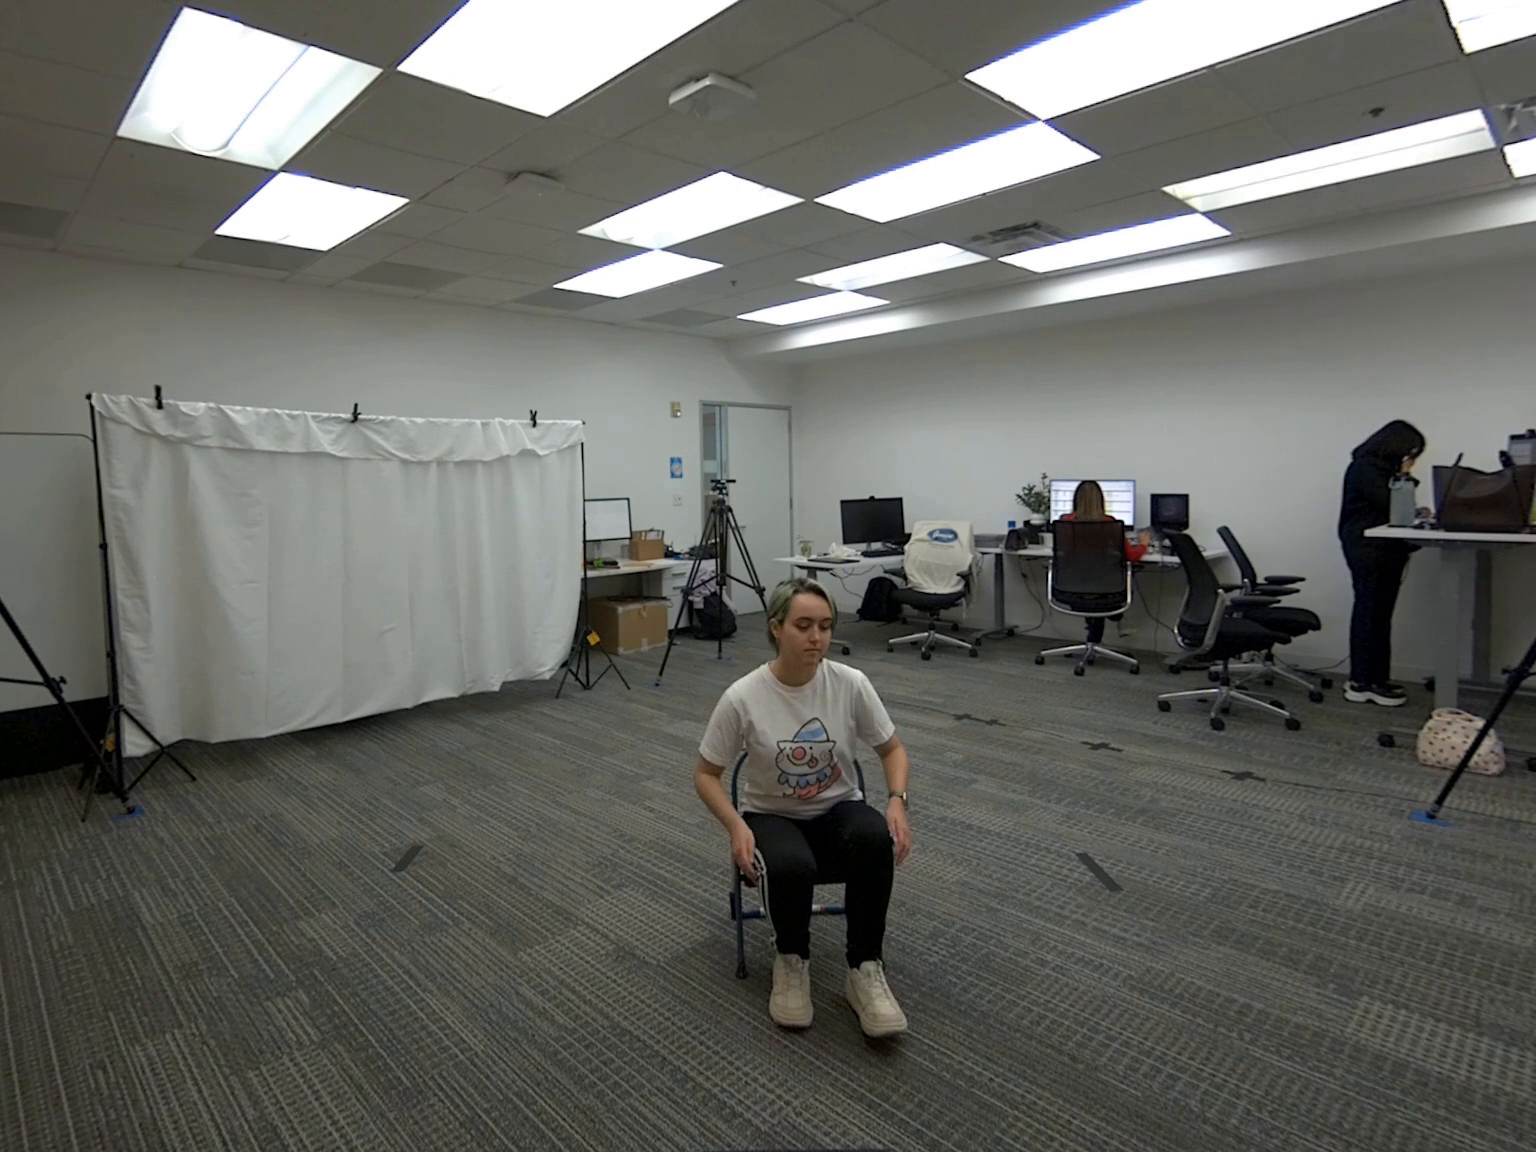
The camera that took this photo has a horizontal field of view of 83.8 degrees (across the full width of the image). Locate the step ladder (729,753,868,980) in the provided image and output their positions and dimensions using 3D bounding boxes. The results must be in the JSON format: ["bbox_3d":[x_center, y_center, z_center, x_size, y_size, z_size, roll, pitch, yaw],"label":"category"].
[{"bbox_3d":[0.109,0.811,2.568,0.429,0.603,0.352,-1,5,-5],"label":"step ladder"}]
